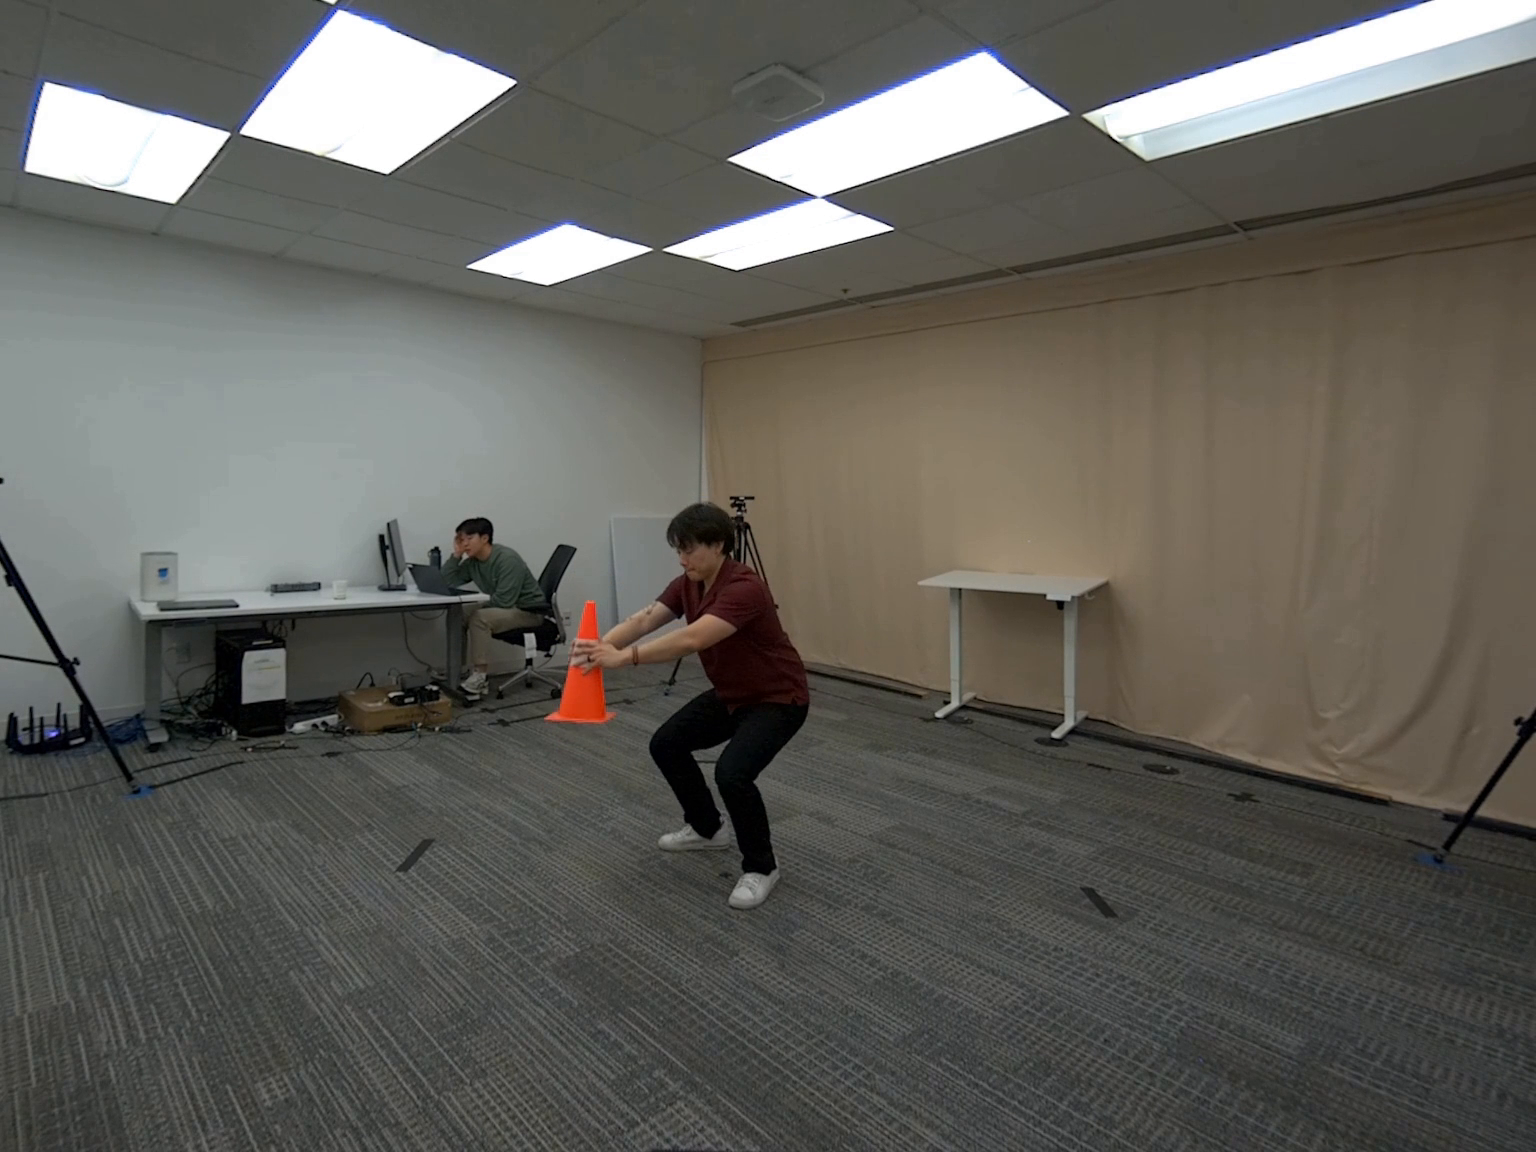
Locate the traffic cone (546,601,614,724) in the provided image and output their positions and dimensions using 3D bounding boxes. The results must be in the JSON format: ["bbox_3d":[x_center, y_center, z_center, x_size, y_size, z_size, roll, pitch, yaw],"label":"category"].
[{"bbox_3d":[-0.614,0.280,2.797,0.206,0.384,0.202,3,-1,6],"label":"traffic cone"}]
